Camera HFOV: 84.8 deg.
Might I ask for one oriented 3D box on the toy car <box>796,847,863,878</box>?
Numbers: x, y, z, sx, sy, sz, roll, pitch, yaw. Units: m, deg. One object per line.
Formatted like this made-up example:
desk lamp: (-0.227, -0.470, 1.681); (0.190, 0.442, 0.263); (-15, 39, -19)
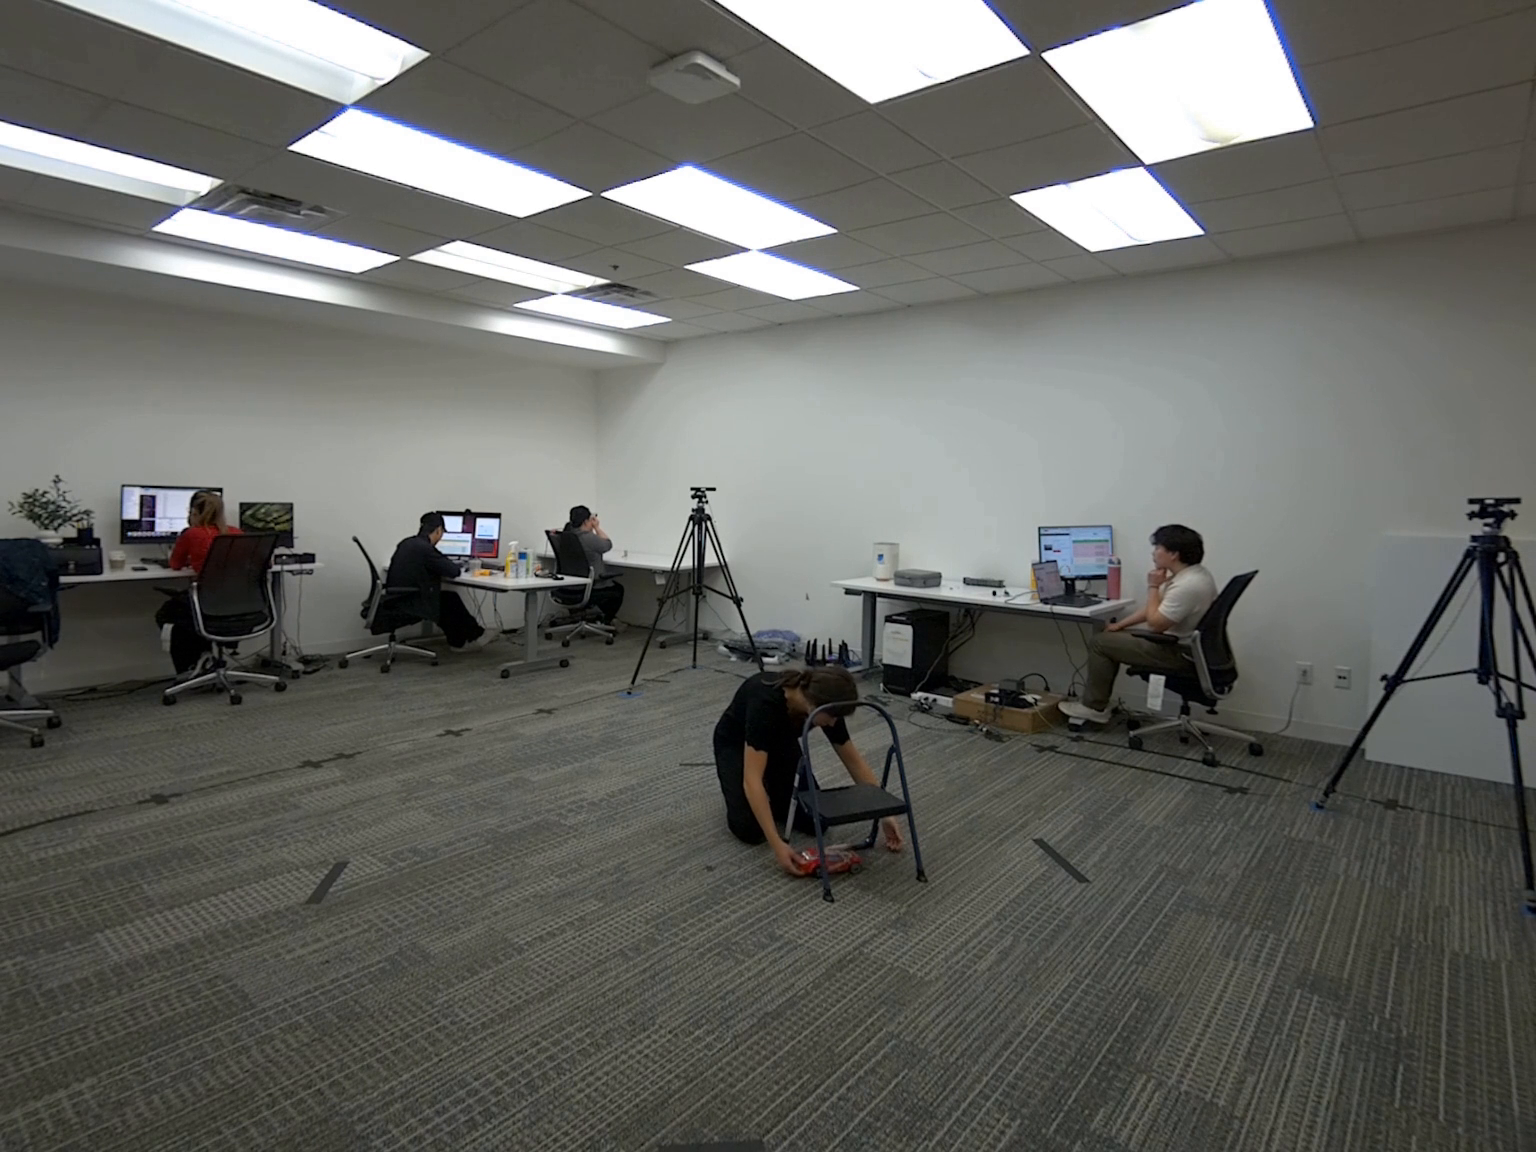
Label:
toy car: (0.204, 1.060, 3.122); (0.250, 0.083, 0.133); (10, 8, -15)
